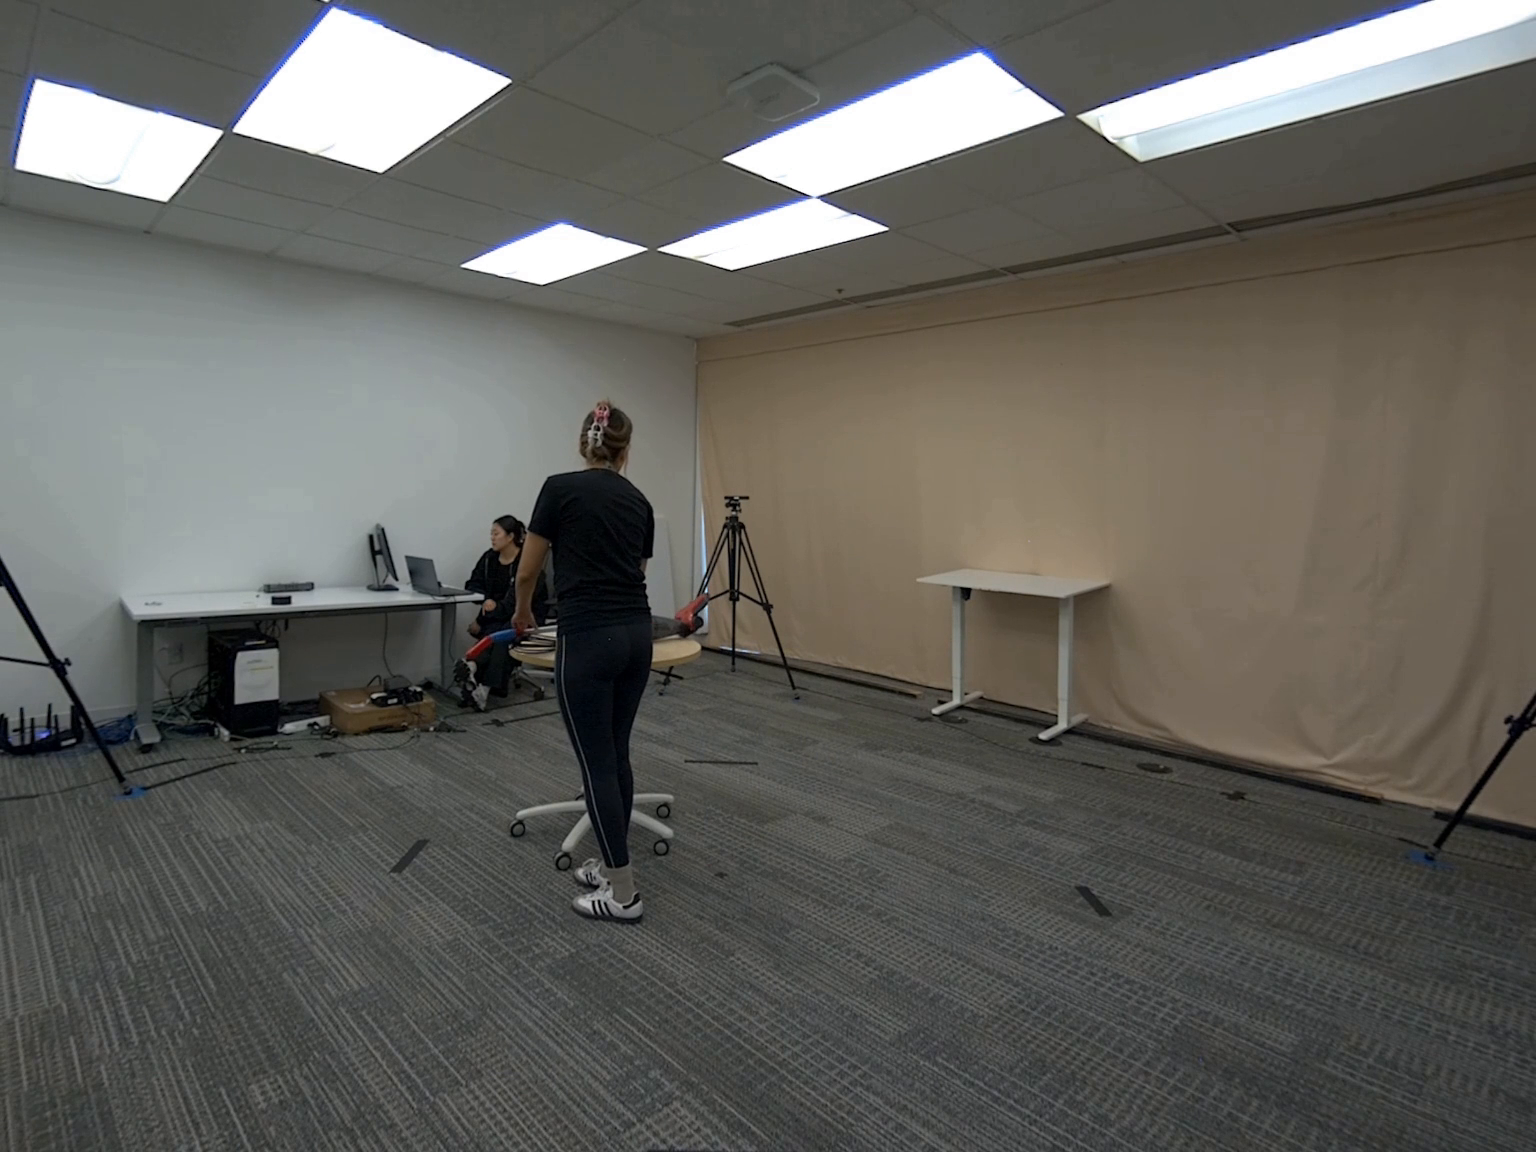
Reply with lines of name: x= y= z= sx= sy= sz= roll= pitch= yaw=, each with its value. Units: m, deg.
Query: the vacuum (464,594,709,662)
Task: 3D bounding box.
vacuum: x=-0.697 y=0.237 z=3.349 sx=1.027 sy=0.146 sz=0.254 roll=-8 pitch=-21 yaw=-42
